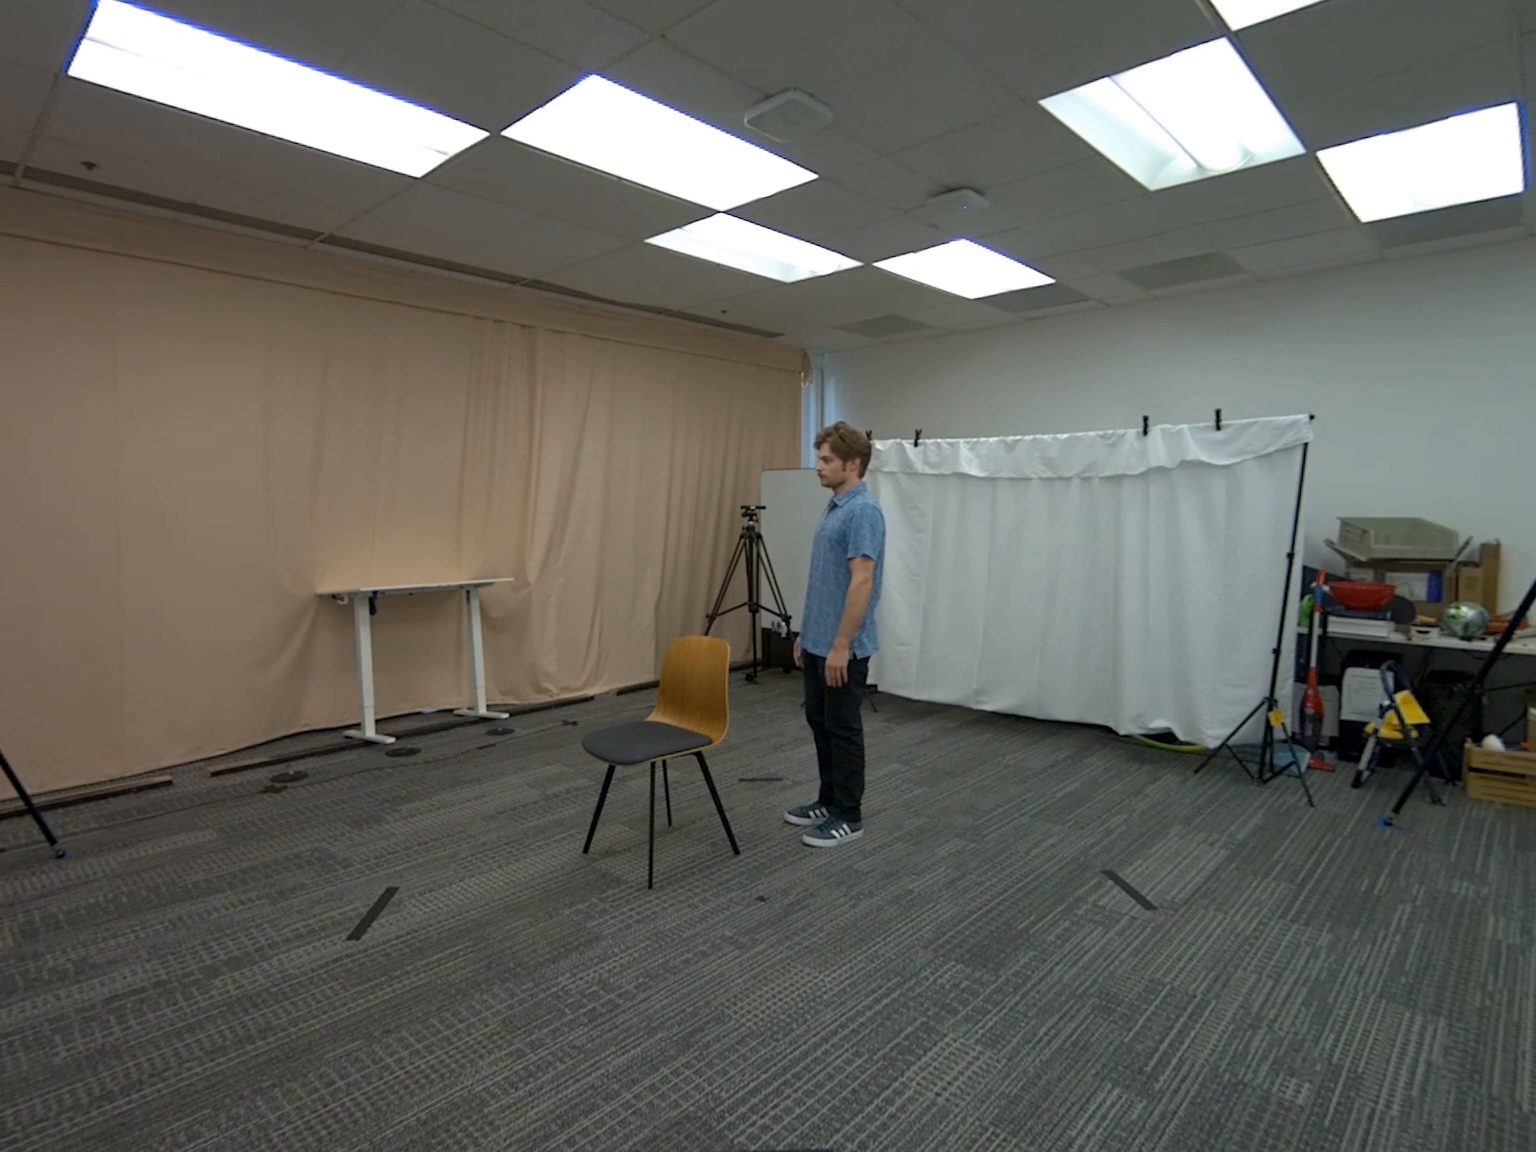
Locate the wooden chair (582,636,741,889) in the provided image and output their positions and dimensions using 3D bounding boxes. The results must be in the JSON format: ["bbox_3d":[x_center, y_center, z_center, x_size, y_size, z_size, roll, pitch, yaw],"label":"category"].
[{"bbox_3d":[-0.434,0.689,3.338,0.506,0.877,0.494,3,0,-44],"label":"wooden chair"}]
